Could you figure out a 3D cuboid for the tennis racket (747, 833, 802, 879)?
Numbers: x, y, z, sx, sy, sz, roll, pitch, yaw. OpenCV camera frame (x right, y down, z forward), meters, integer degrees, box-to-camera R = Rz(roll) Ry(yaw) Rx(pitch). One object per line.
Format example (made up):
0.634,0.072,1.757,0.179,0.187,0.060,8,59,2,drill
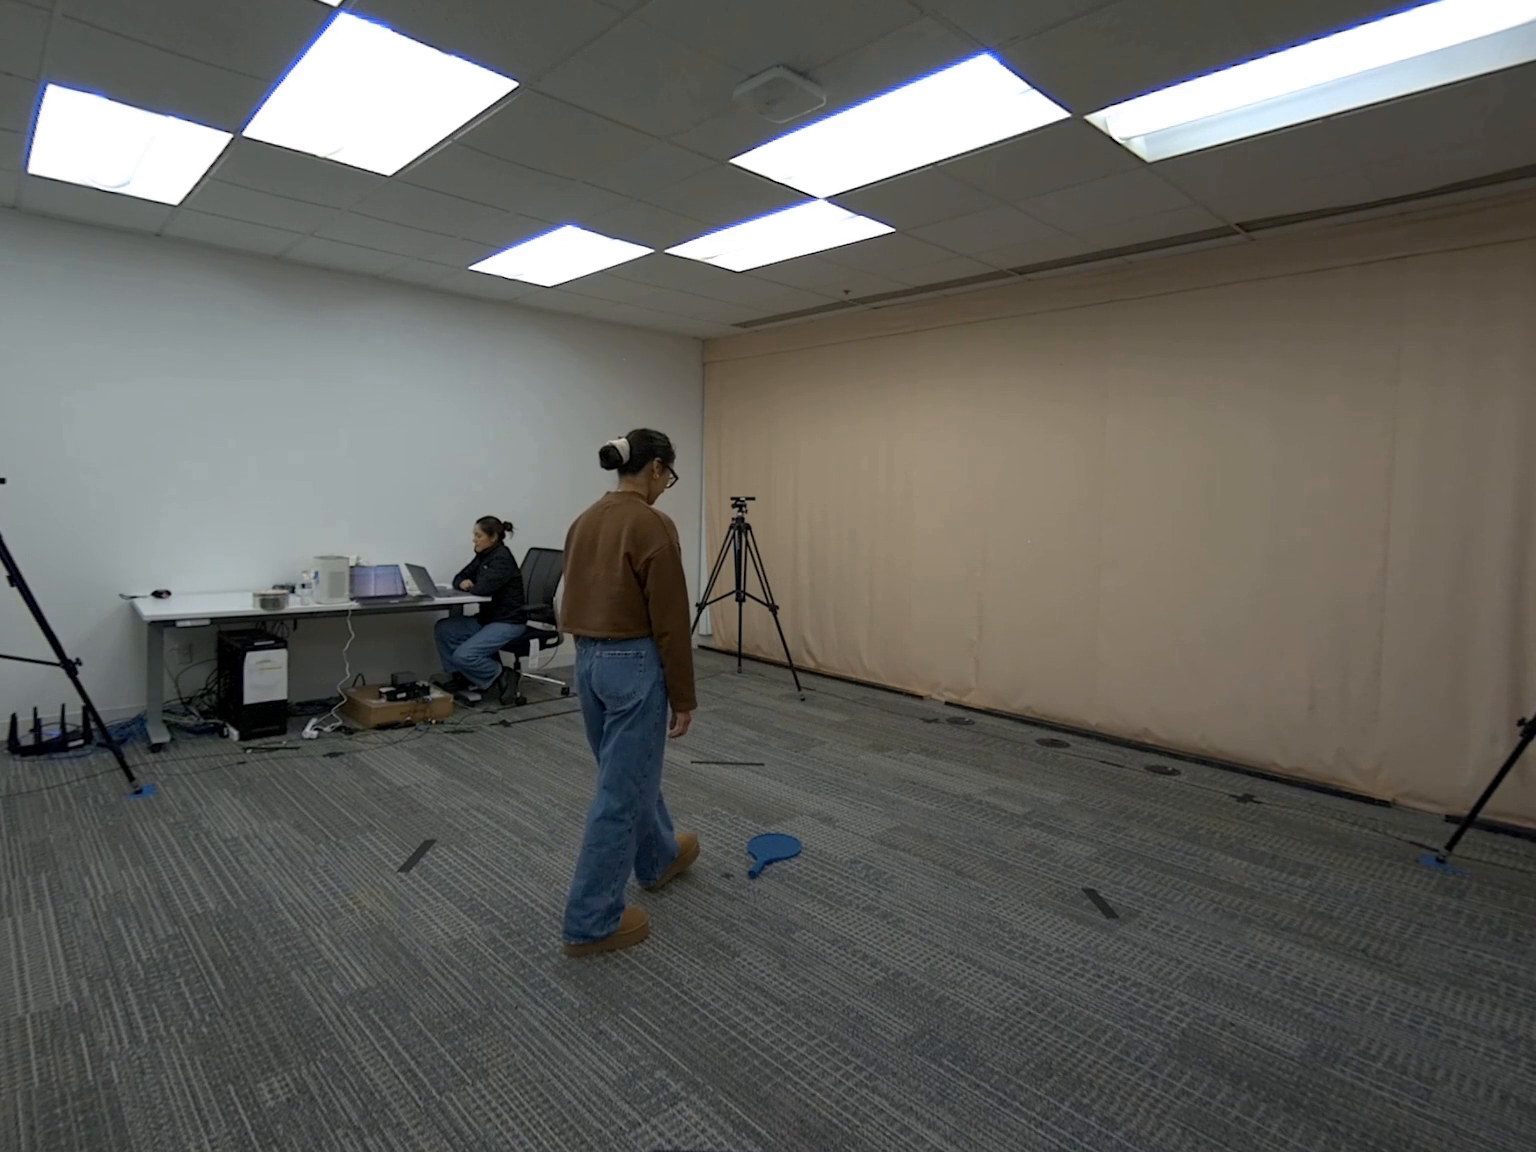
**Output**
-0.007,1.080,3.284,0.217,0.032,0.427,2,4,17,tennis racket
